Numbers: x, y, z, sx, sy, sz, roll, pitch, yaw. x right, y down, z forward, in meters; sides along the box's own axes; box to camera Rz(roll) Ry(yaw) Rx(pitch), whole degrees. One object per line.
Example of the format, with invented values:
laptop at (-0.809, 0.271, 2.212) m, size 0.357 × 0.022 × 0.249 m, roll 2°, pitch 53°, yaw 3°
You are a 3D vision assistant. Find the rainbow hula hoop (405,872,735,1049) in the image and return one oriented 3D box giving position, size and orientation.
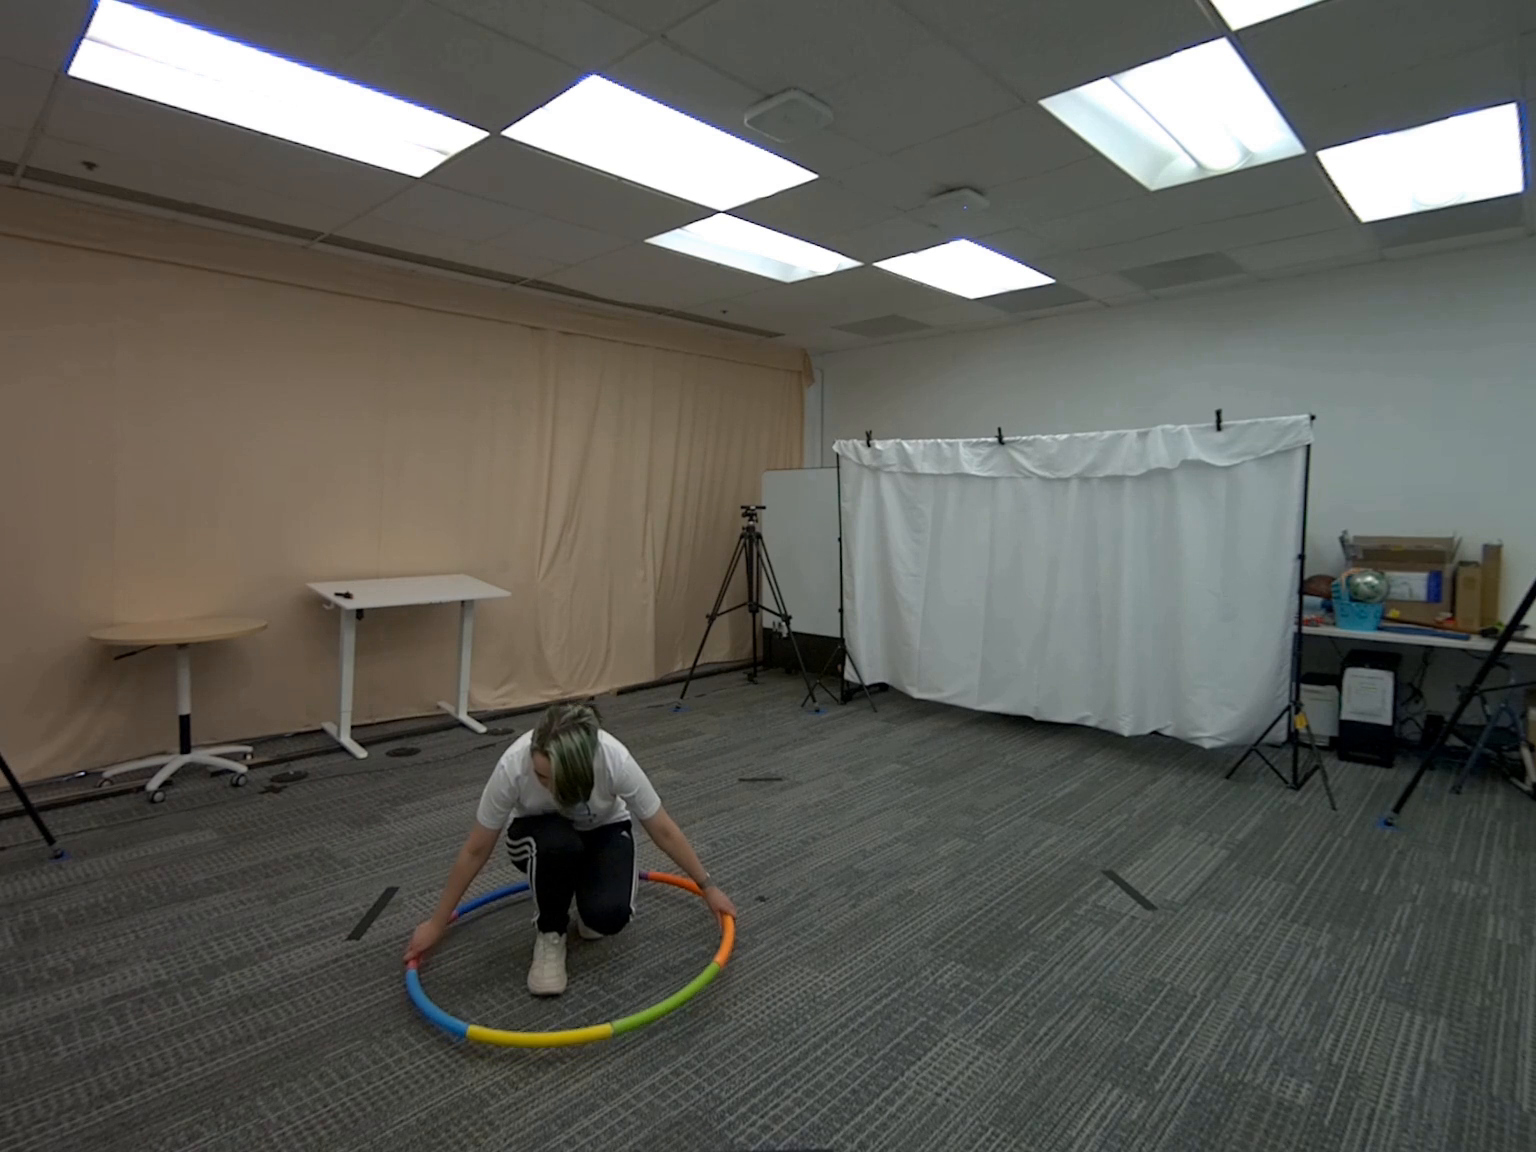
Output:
rainbow hula hoop at (-0.596, 1.107, 2.579) m, size 0.985 × 0.051 × 0.989 m, roll -2°, pitch 4°, yaw -2°
